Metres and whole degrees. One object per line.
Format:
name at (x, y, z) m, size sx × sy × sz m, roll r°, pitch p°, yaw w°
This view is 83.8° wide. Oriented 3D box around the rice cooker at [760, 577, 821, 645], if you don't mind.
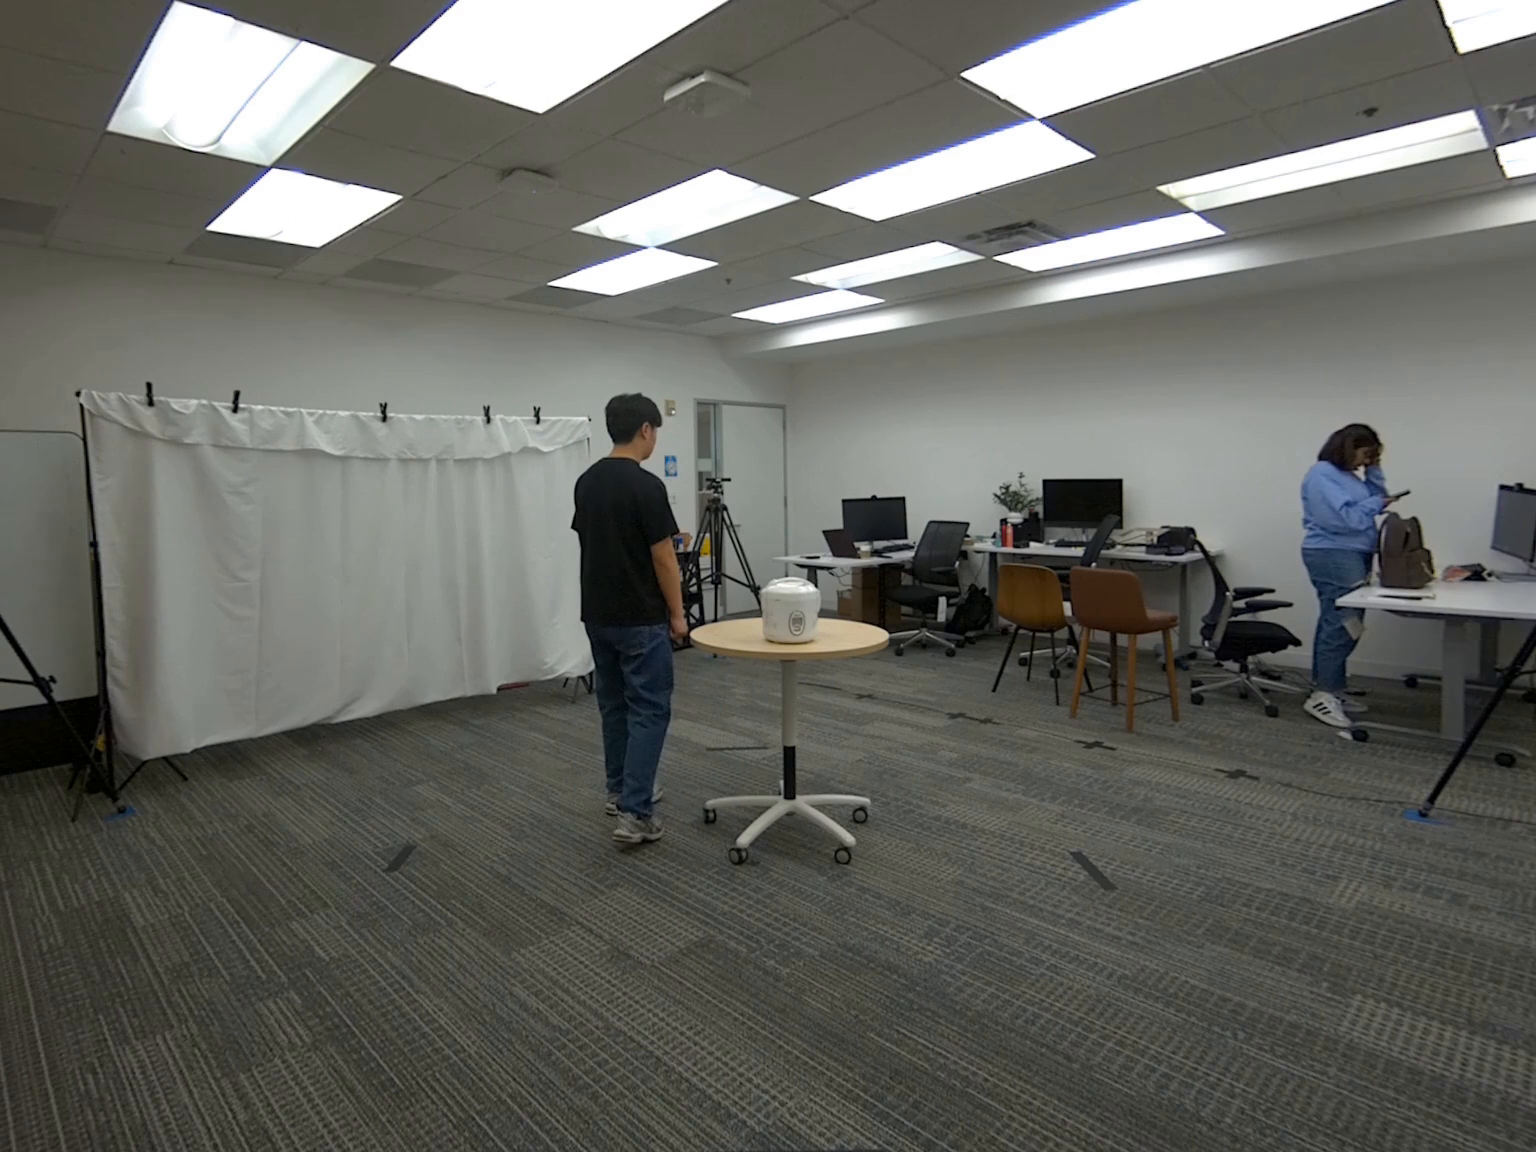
rice cooker at (0.087, 0.119, 3.155) m, size 0.218 × 0.232 × 0.220 m, roll -1°, pitch 5°, yaw -11°
